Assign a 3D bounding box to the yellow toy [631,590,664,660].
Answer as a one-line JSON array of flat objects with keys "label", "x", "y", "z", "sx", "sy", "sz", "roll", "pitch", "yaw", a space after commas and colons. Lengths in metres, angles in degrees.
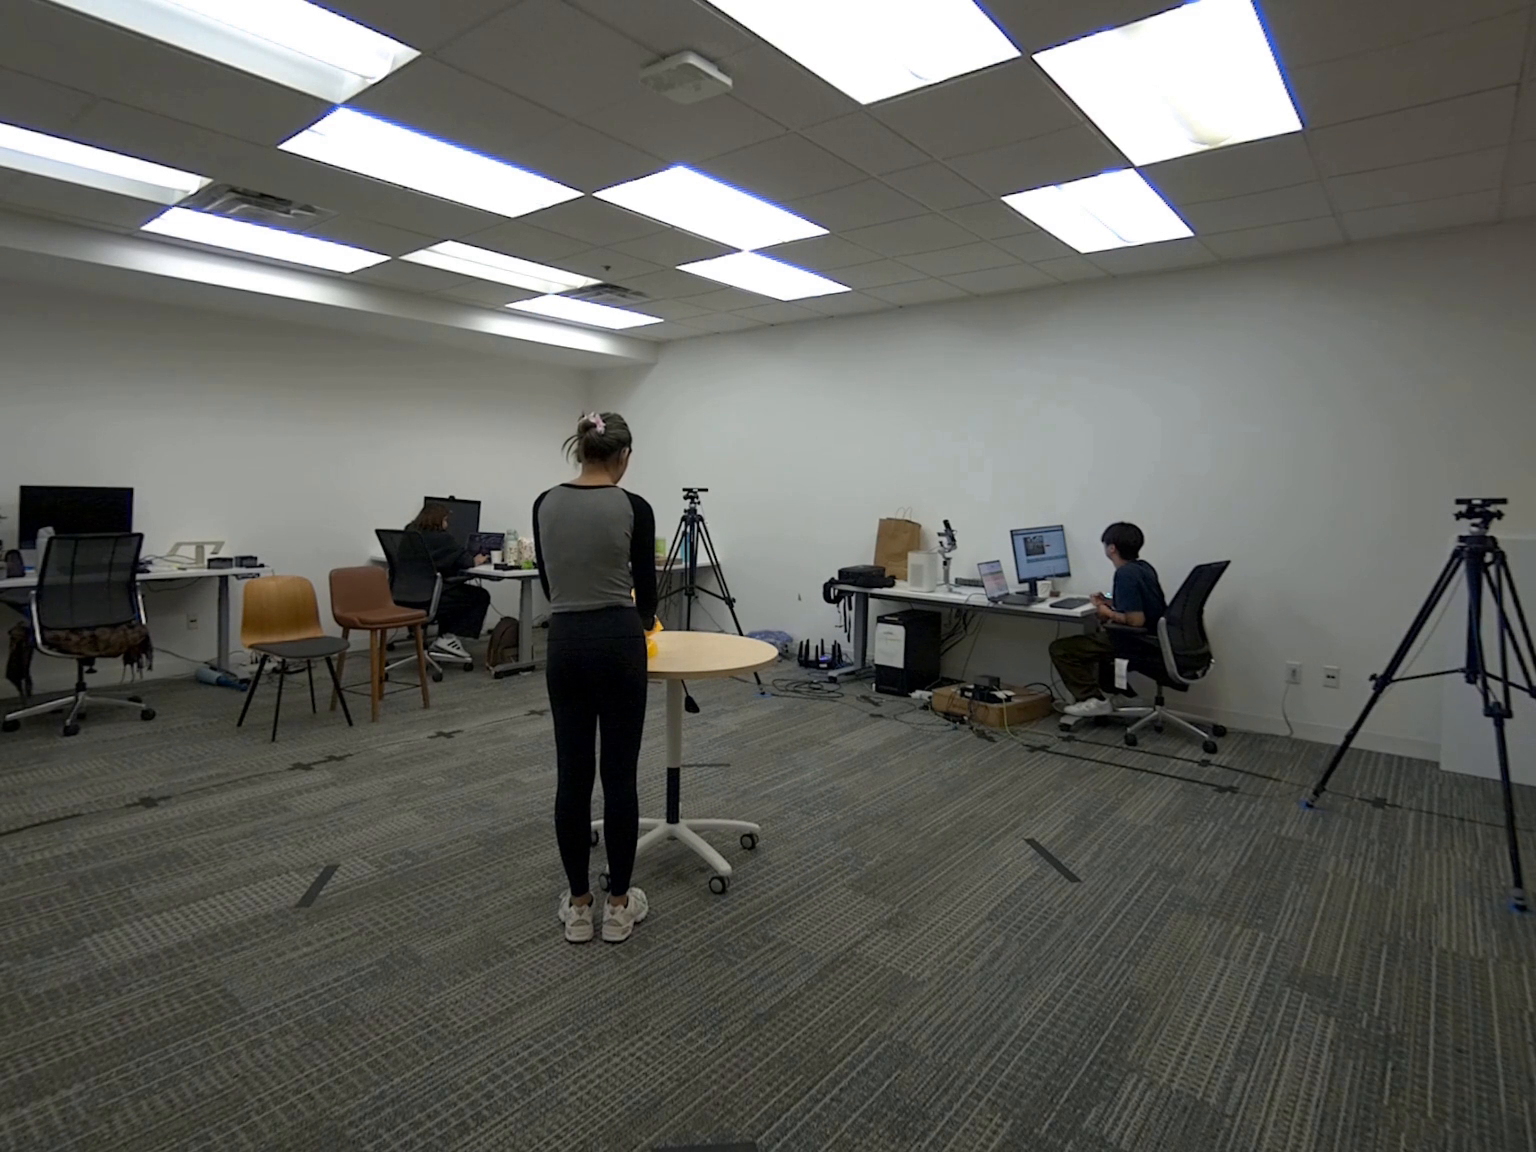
[{"label": "yellow toy", "x": -0.500, "y": 0.161, "z": 3.061, "sx": 0.207, "sy": 0.230, "sz": 0.191, "roll": 0, "pitch": 2, "yaw": 8}]
